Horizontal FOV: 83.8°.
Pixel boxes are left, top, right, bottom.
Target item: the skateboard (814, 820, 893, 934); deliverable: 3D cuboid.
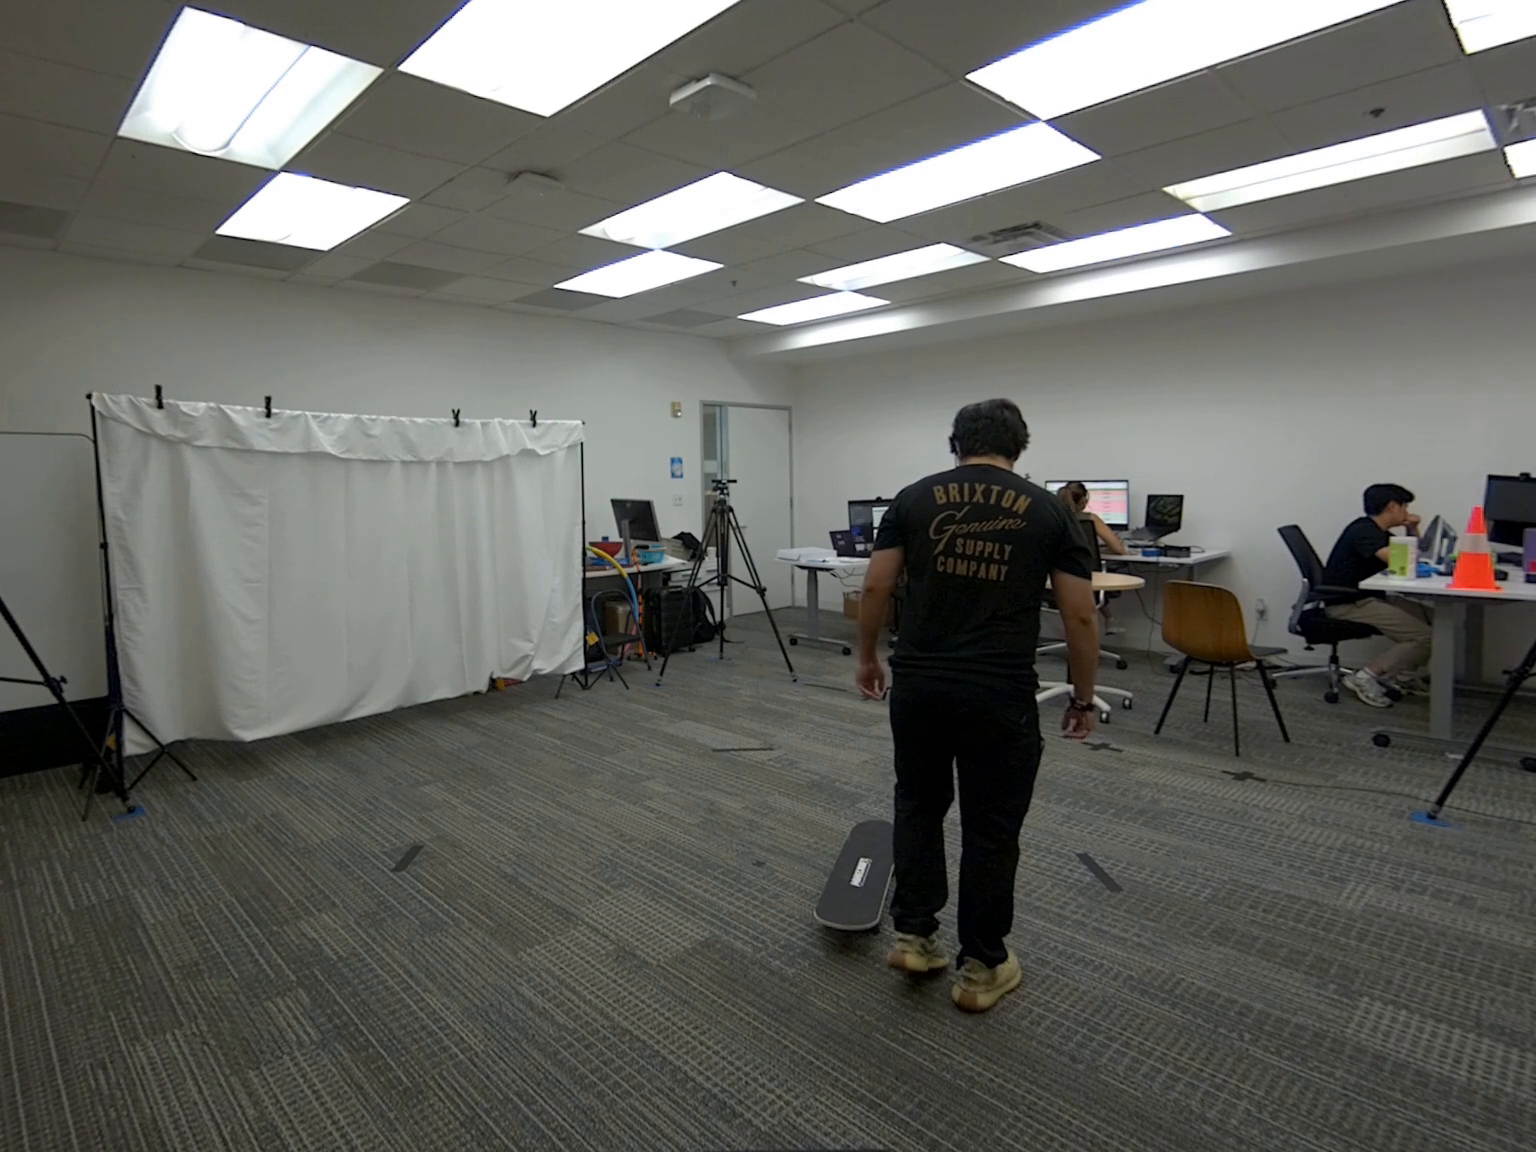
[{"bbox_3d":[0.313,1.011,2.845,0.196,0.110,0.777,0,7,15],"label":"skateboard"}]
